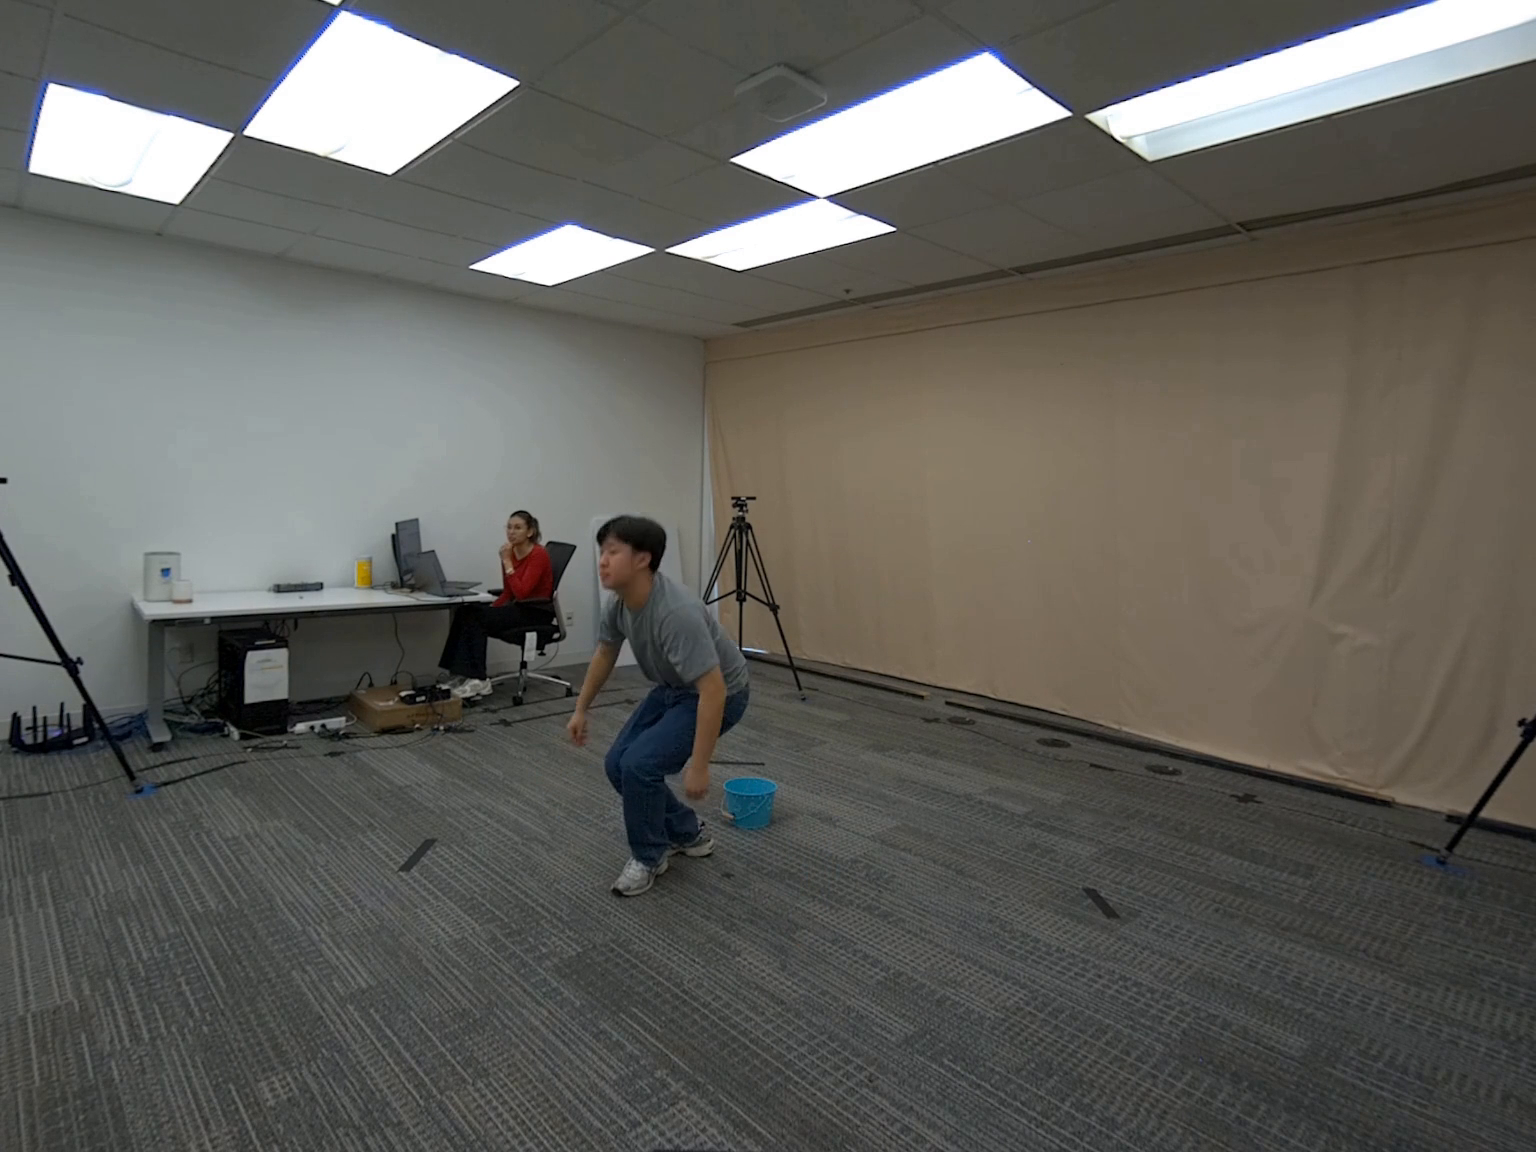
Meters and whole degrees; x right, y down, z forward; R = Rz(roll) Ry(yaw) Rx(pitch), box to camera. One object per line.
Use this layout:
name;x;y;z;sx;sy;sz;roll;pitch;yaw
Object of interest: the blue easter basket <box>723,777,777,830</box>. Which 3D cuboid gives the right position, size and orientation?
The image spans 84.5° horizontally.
blue easter basket;-0.093;0.982;3.647;0.243;0.155;0.244;2;5;-1
